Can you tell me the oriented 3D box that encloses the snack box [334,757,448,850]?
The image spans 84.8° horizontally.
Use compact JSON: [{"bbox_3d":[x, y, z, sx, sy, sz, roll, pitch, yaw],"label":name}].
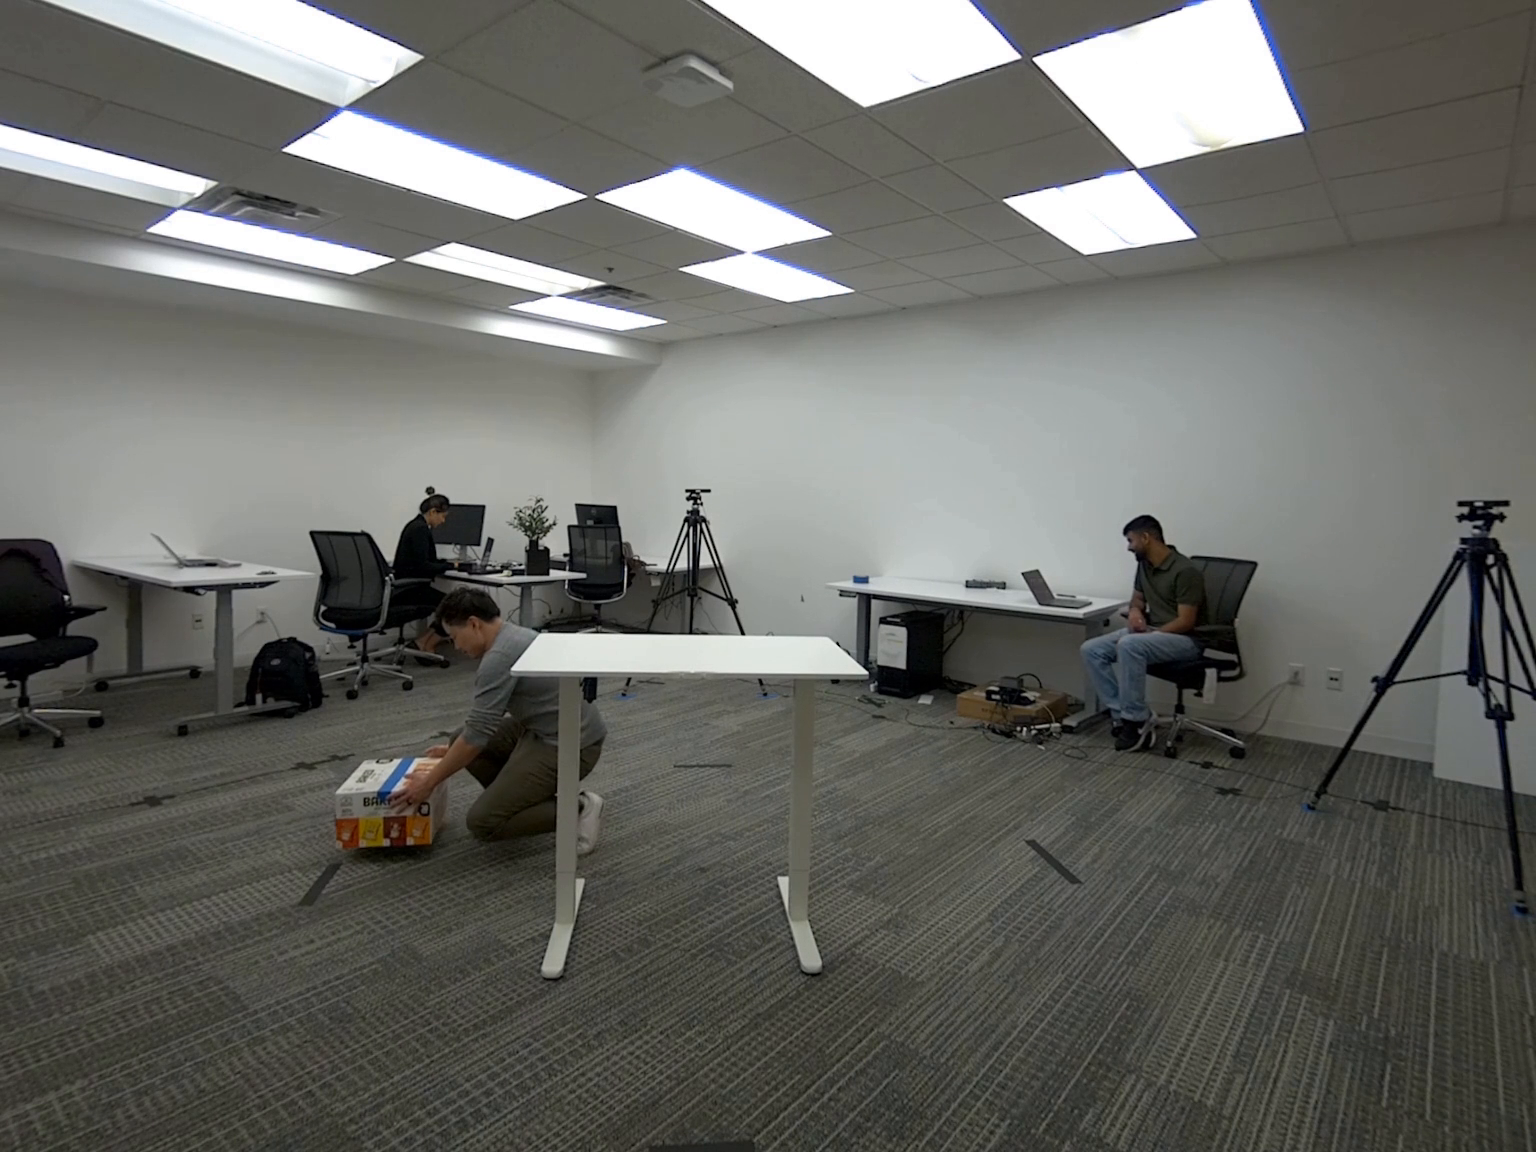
[{"bbox_3d":[-1.464,0.870,3.311,0.337,0.205,0.410,0,5,-9],"label":"snack box"}]
